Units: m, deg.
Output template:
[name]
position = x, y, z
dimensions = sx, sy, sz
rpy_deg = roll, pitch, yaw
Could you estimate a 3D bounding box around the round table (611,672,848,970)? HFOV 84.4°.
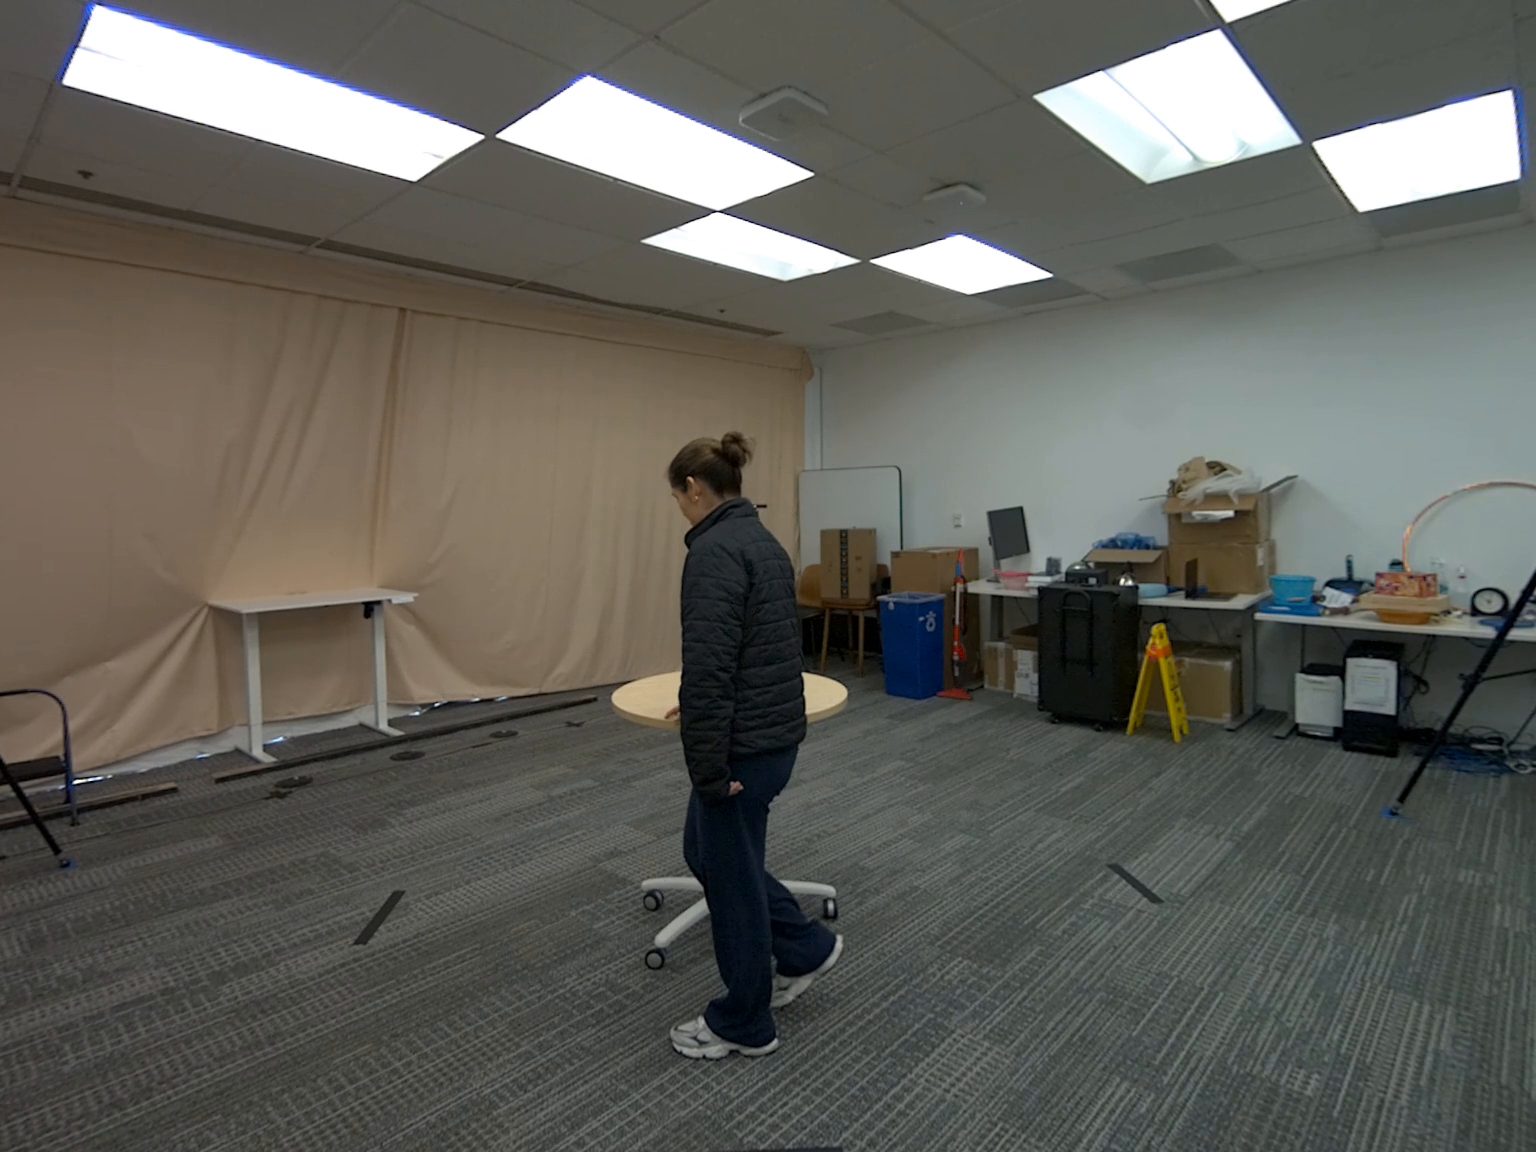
[round table]
position = -0.108, 0.766, 2.784
dimensions = 0.784, 0.784, 0.788
rpy_deg = -2, 4, -2
